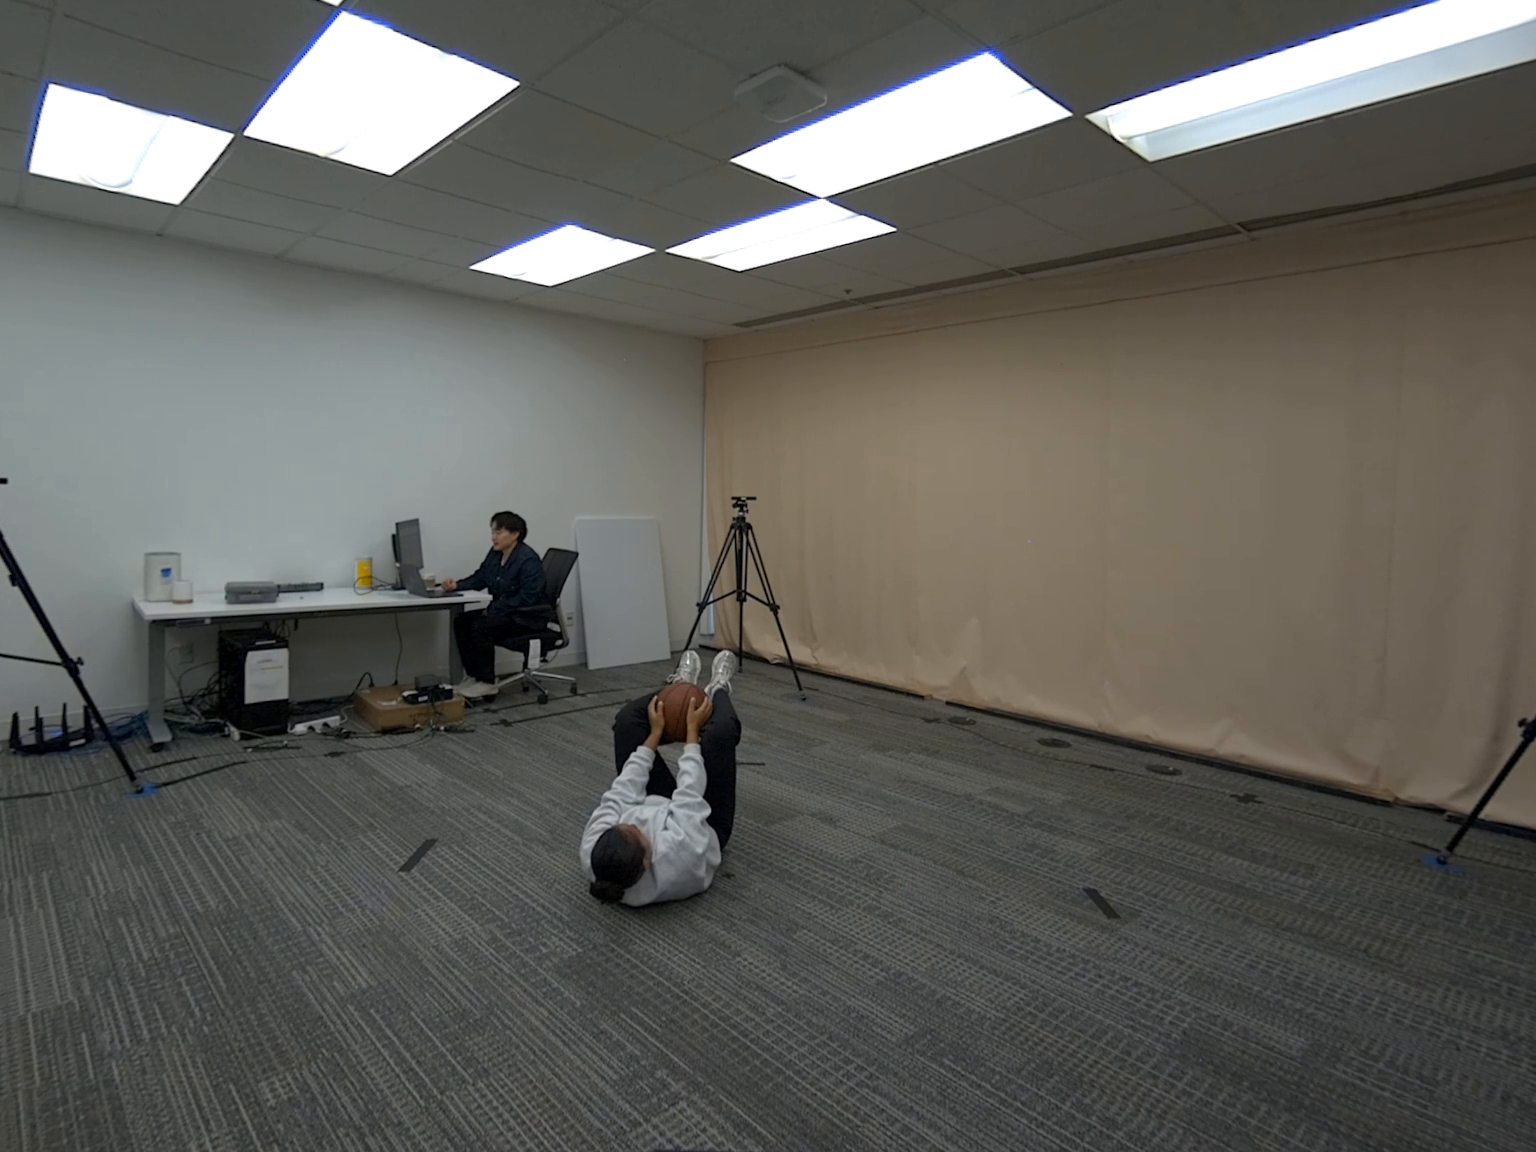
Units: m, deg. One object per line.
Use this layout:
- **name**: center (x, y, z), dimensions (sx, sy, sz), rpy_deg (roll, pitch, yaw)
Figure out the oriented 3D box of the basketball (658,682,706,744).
- **basketball**: center (-0.350, 0.534, 3.356), dimensions (0.236, 0.235, 0.237), rpy_deg (1, 5, -1)
